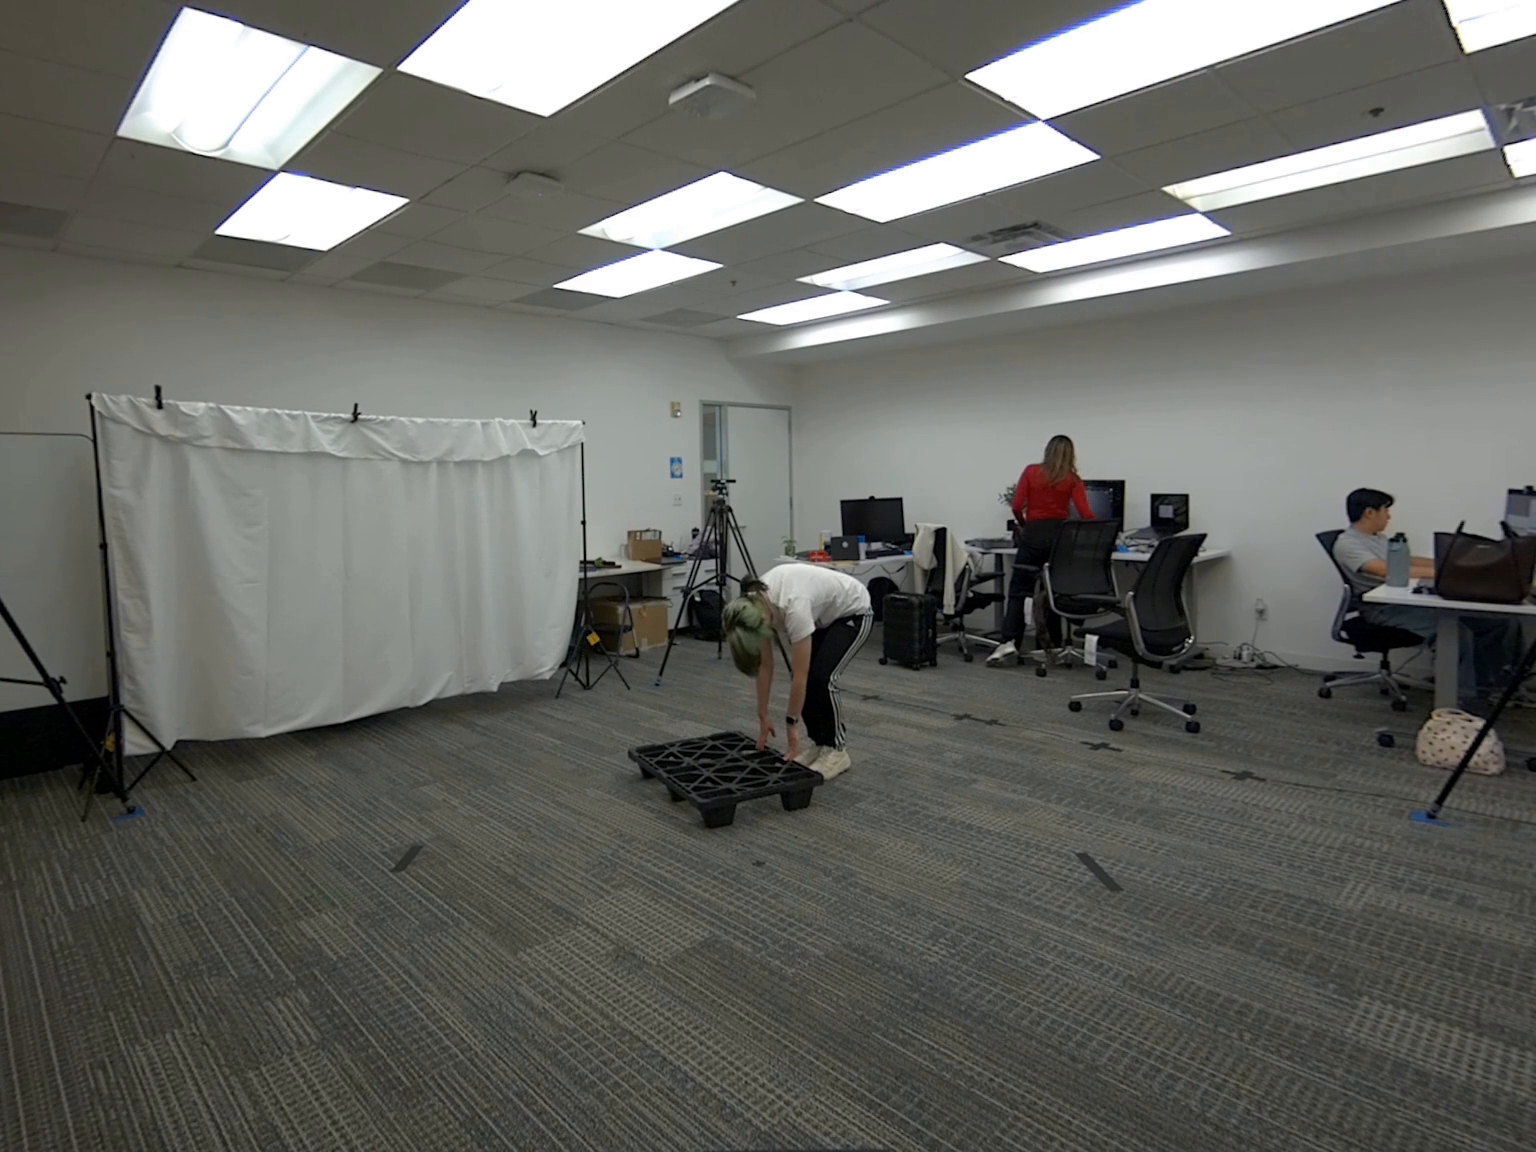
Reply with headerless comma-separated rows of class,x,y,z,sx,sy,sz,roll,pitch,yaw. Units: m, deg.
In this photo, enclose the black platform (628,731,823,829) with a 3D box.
black platform,-0.212,0.900,3.851,0.591,0.143,0.827,-4,7,-29
